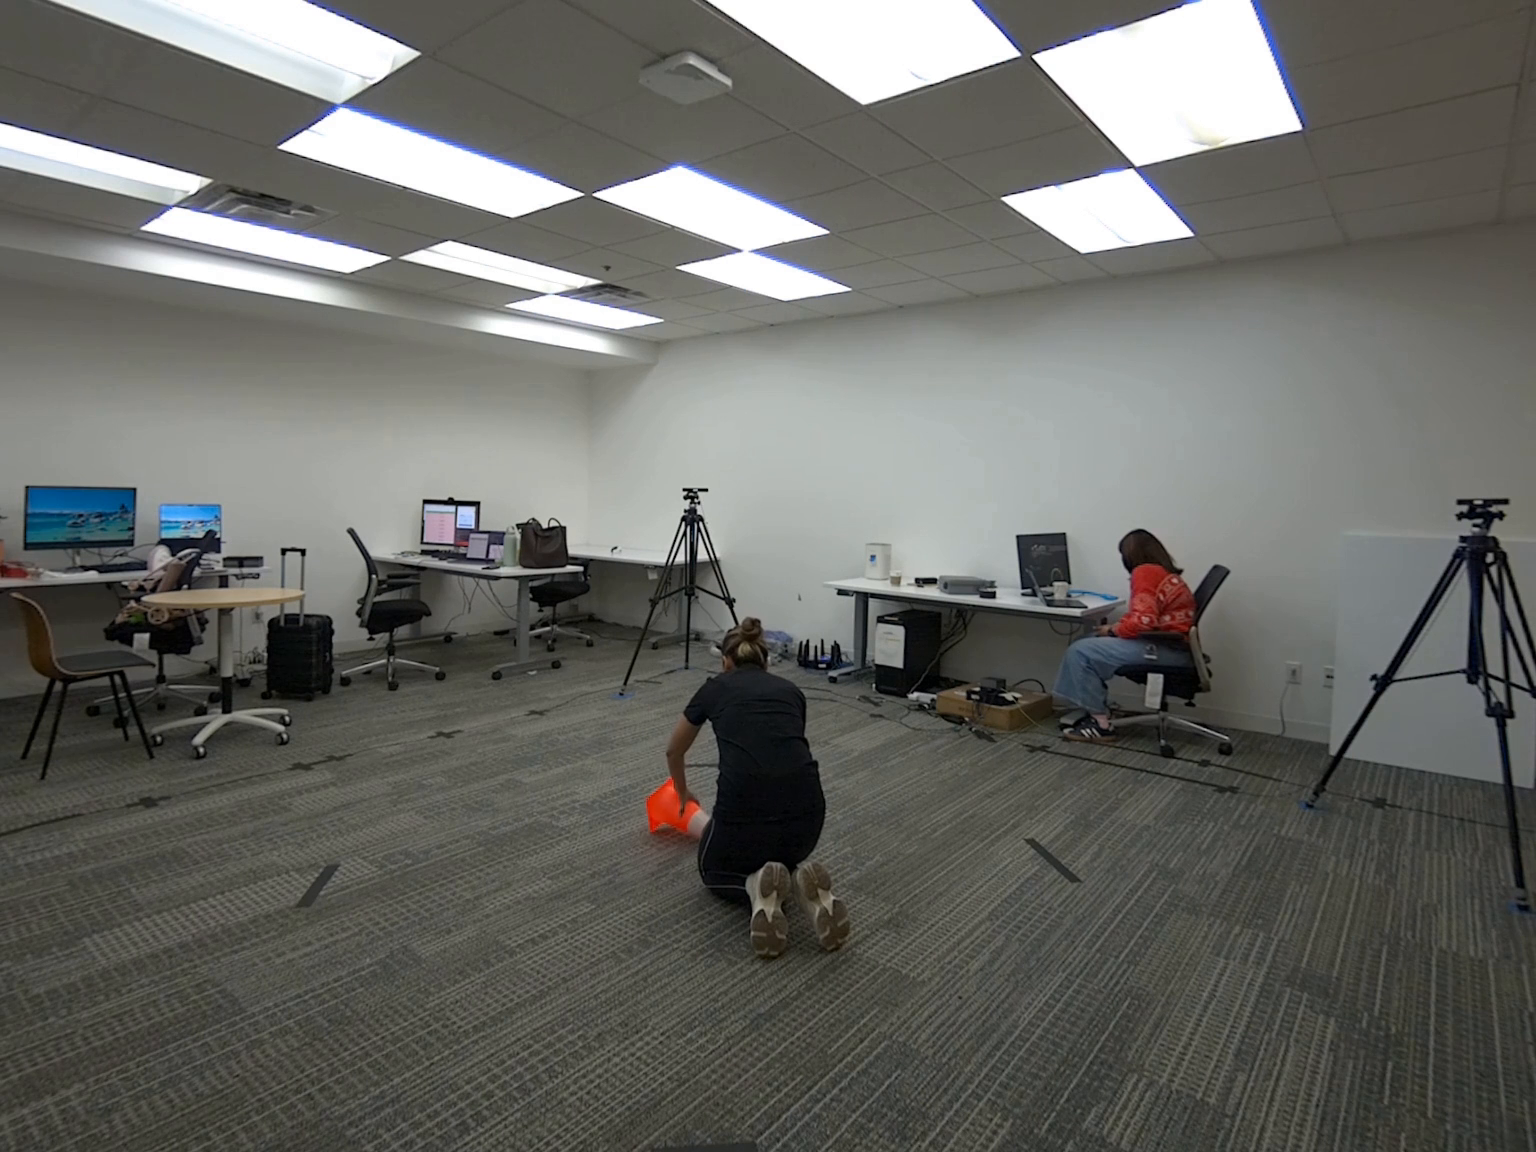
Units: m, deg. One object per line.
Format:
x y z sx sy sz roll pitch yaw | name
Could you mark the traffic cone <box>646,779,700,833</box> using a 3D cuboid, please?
-0.285 0.977 3.349 0.398 0.199 0.201 21 39 33 | traffic cone
